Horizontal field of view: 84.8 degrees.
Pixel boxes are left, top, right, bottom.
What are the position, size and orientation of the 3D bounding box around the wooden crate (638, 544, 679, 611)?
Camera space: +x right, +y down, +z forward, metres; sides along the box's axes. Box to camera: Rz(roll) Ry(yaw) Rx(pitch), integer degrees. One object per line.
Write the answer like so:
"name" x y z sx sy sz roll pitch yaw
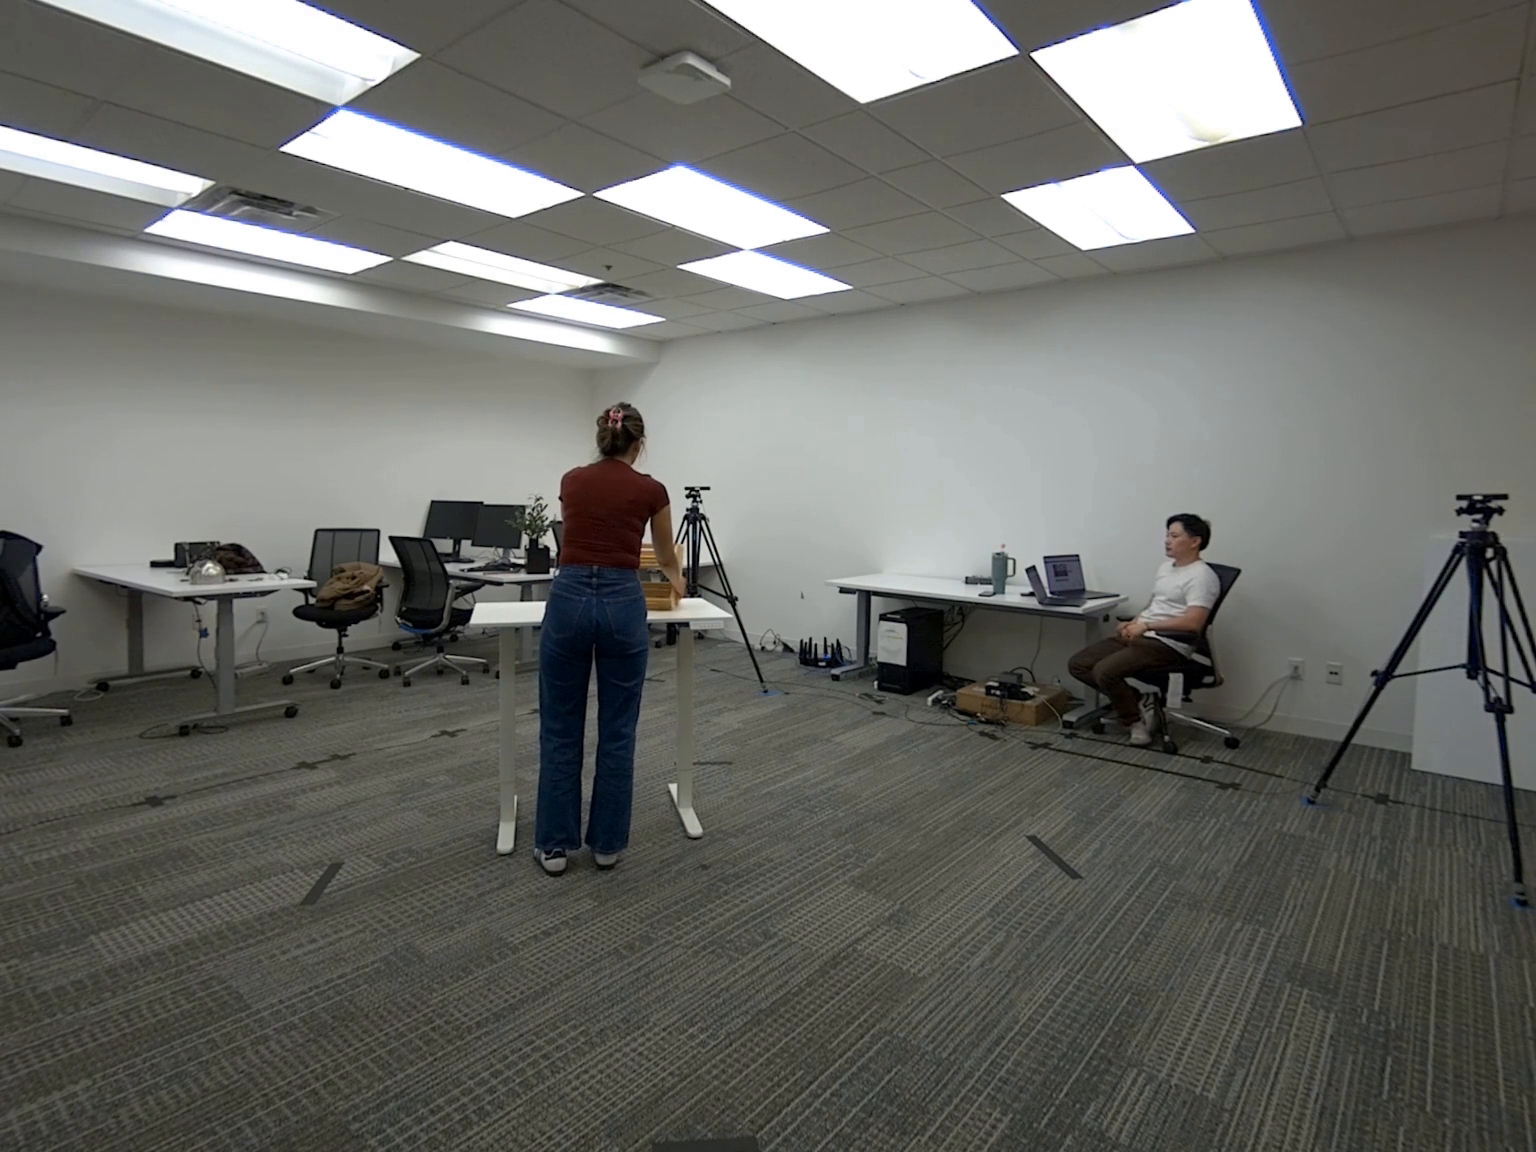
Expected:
"wooden crate" -0.555 -0.001 3.643 0.326 0.272 0.302 1 6 4
